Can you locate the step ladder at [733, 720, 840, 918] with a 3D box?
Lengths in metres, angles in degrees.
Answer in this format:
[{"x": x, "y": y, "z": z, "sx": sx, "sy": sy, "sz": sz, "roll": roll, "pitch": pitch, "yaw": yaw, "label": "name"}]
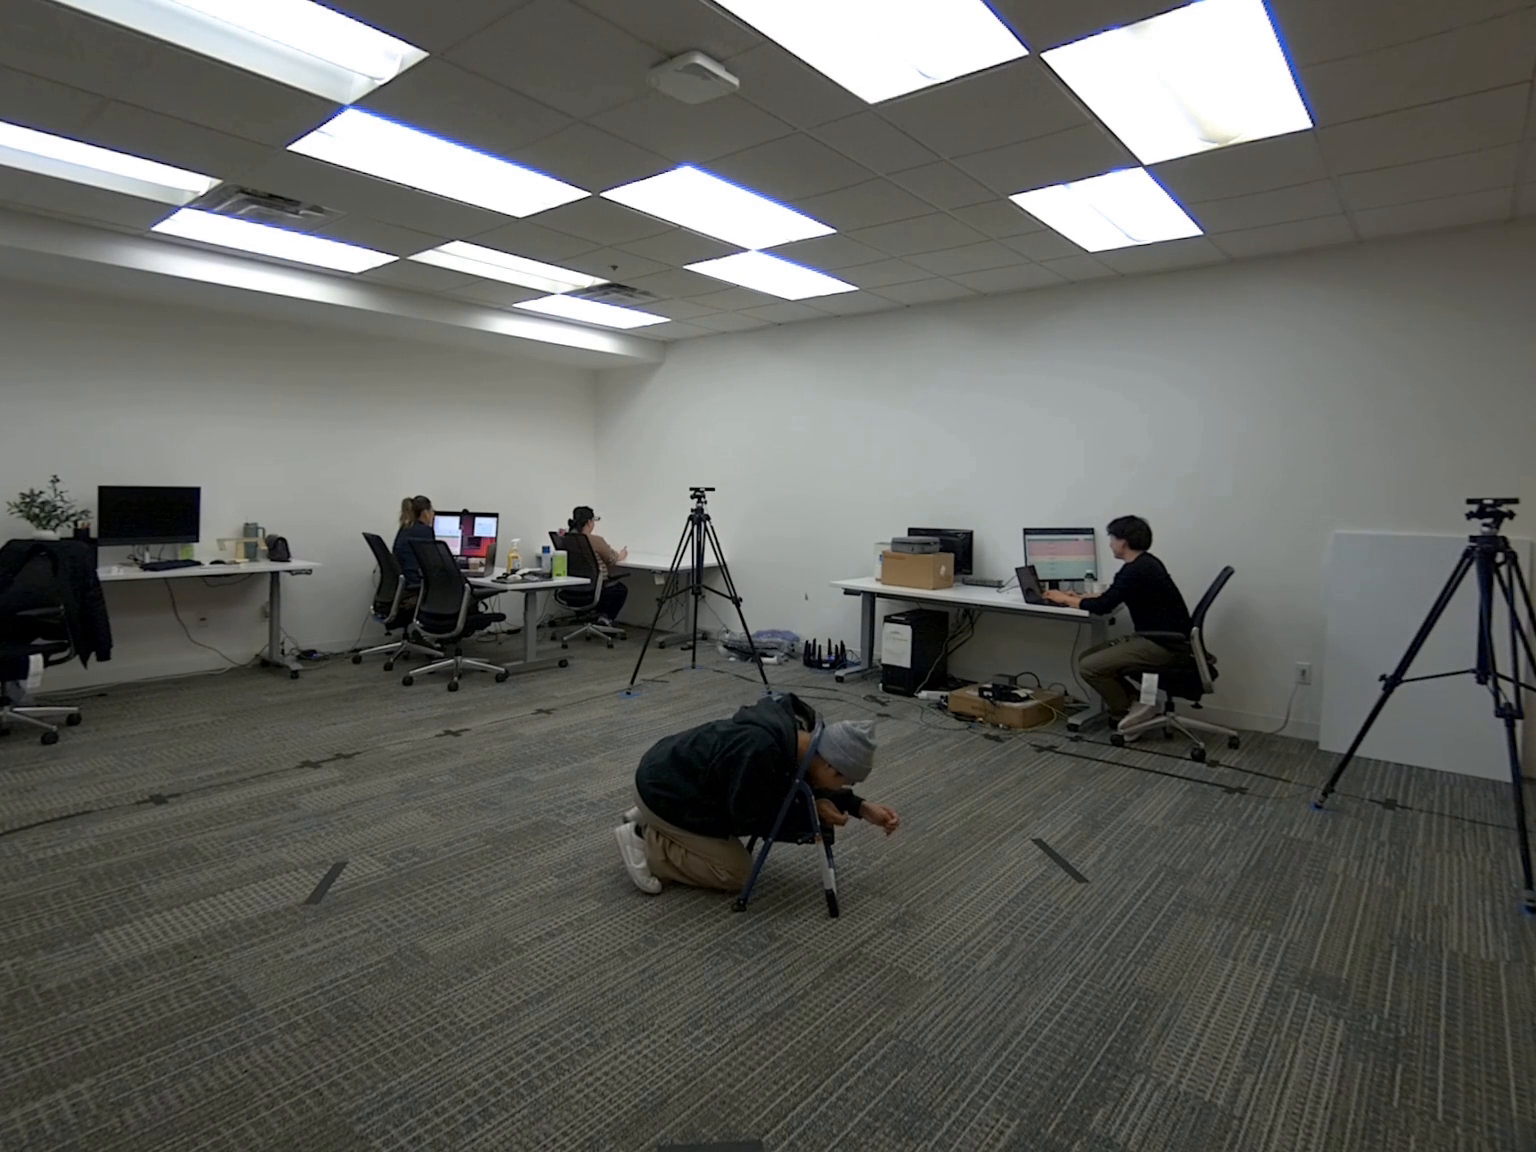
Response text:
[{"x": 0.078, "y": 0.796, "z": 2.967, "sx": 0.350, "sy": 0.604, "sz": 0.431, "roll": 2, "pitch": 3, "yaw": 1, "label": "step ladder"}]
